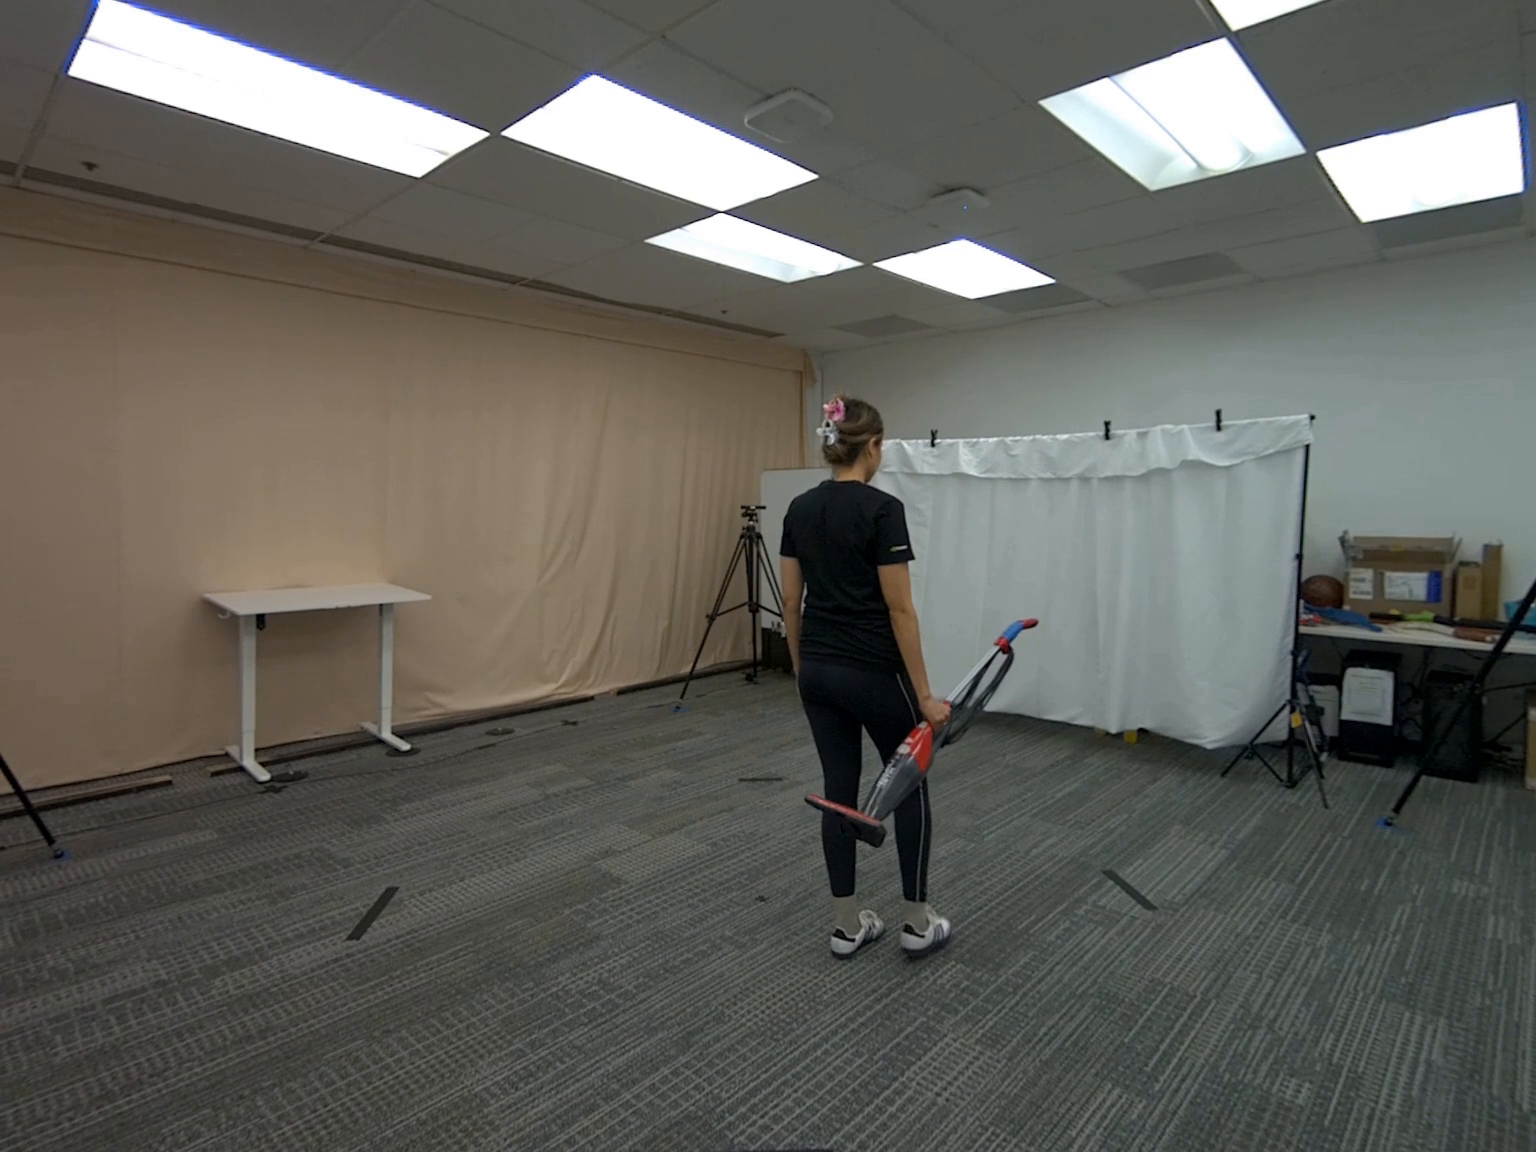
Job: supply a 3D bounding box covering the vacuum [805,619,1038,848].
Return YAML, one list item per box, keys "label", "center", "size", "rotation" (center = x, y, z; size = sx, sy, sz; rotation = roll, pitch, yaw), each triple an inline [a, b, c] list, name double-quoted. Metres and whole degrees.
- label: "vacuum"
  center: [0.578, 0.416, 2.529]
  size: [1.035, 0.141, 0.260]
  rotation: [-37, 22, -33]
